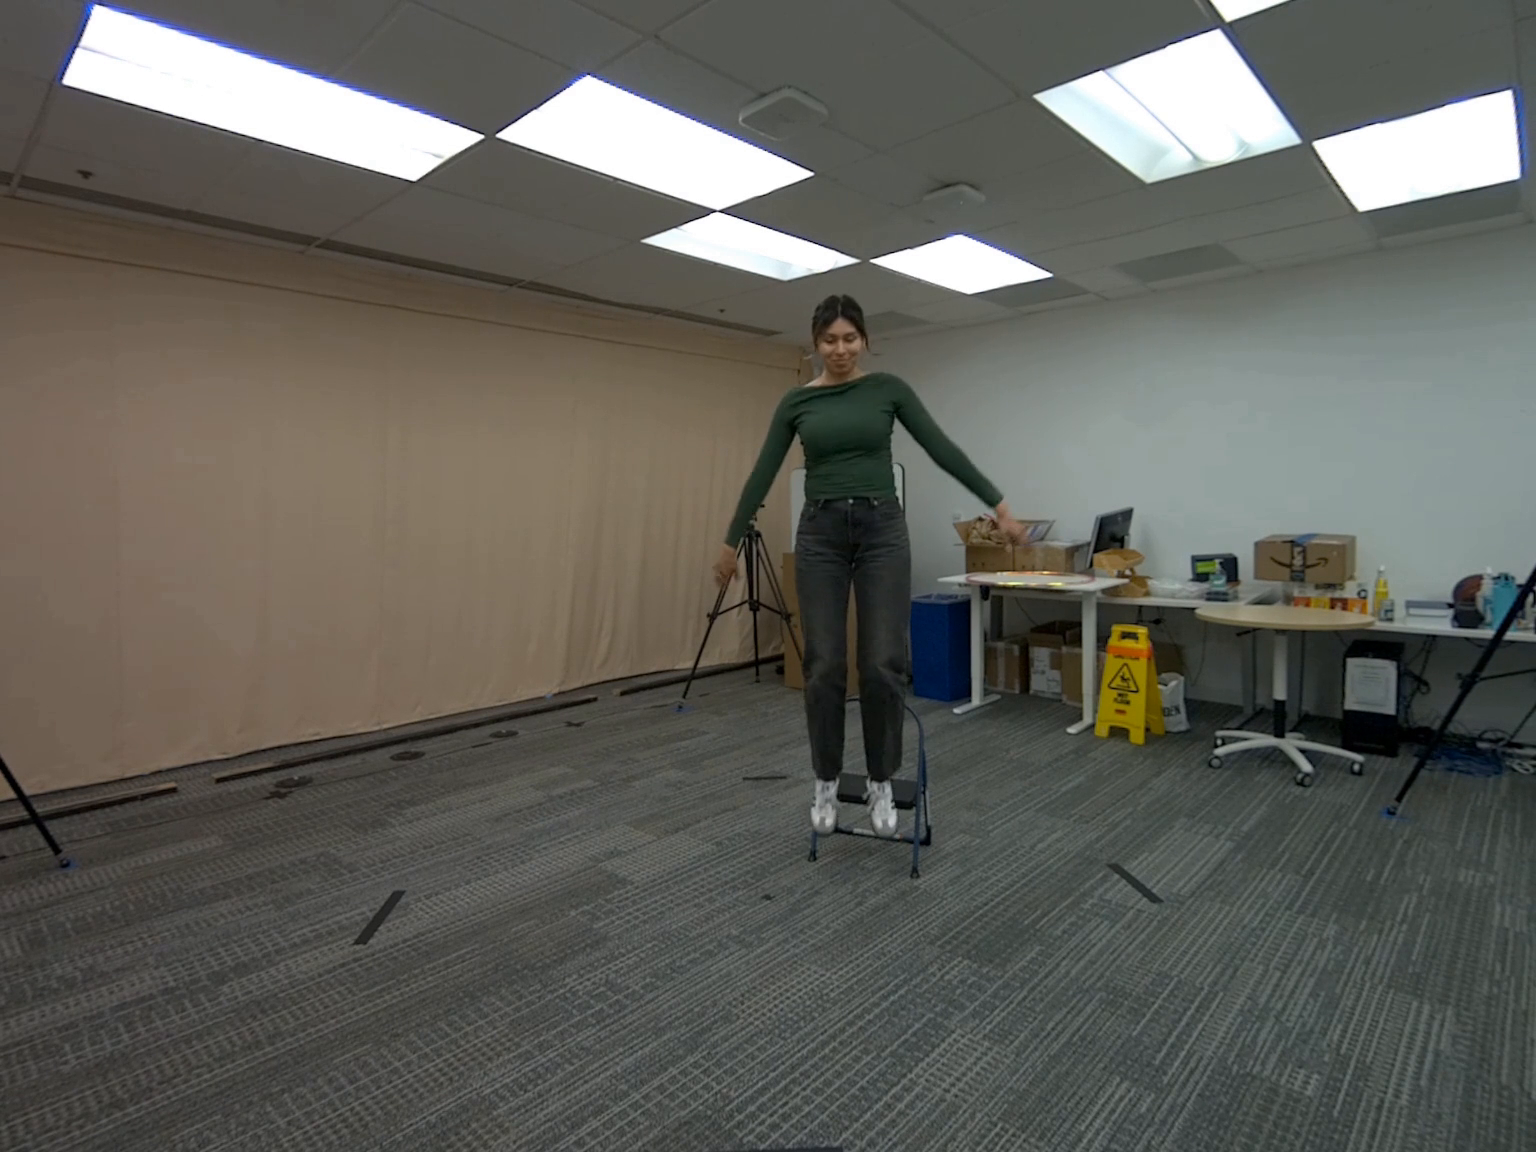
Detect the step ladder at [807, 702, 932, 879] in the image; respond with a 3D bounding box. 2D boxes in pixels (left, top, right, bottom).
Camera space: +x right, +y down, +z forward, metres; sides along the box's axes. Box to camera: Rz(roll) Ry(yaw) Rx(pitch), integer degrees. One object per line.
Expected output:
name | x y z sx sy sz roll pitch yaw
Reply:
step ladder | 0.418 0.798 3.339 0.440 0.605 0.342 1 3 22
